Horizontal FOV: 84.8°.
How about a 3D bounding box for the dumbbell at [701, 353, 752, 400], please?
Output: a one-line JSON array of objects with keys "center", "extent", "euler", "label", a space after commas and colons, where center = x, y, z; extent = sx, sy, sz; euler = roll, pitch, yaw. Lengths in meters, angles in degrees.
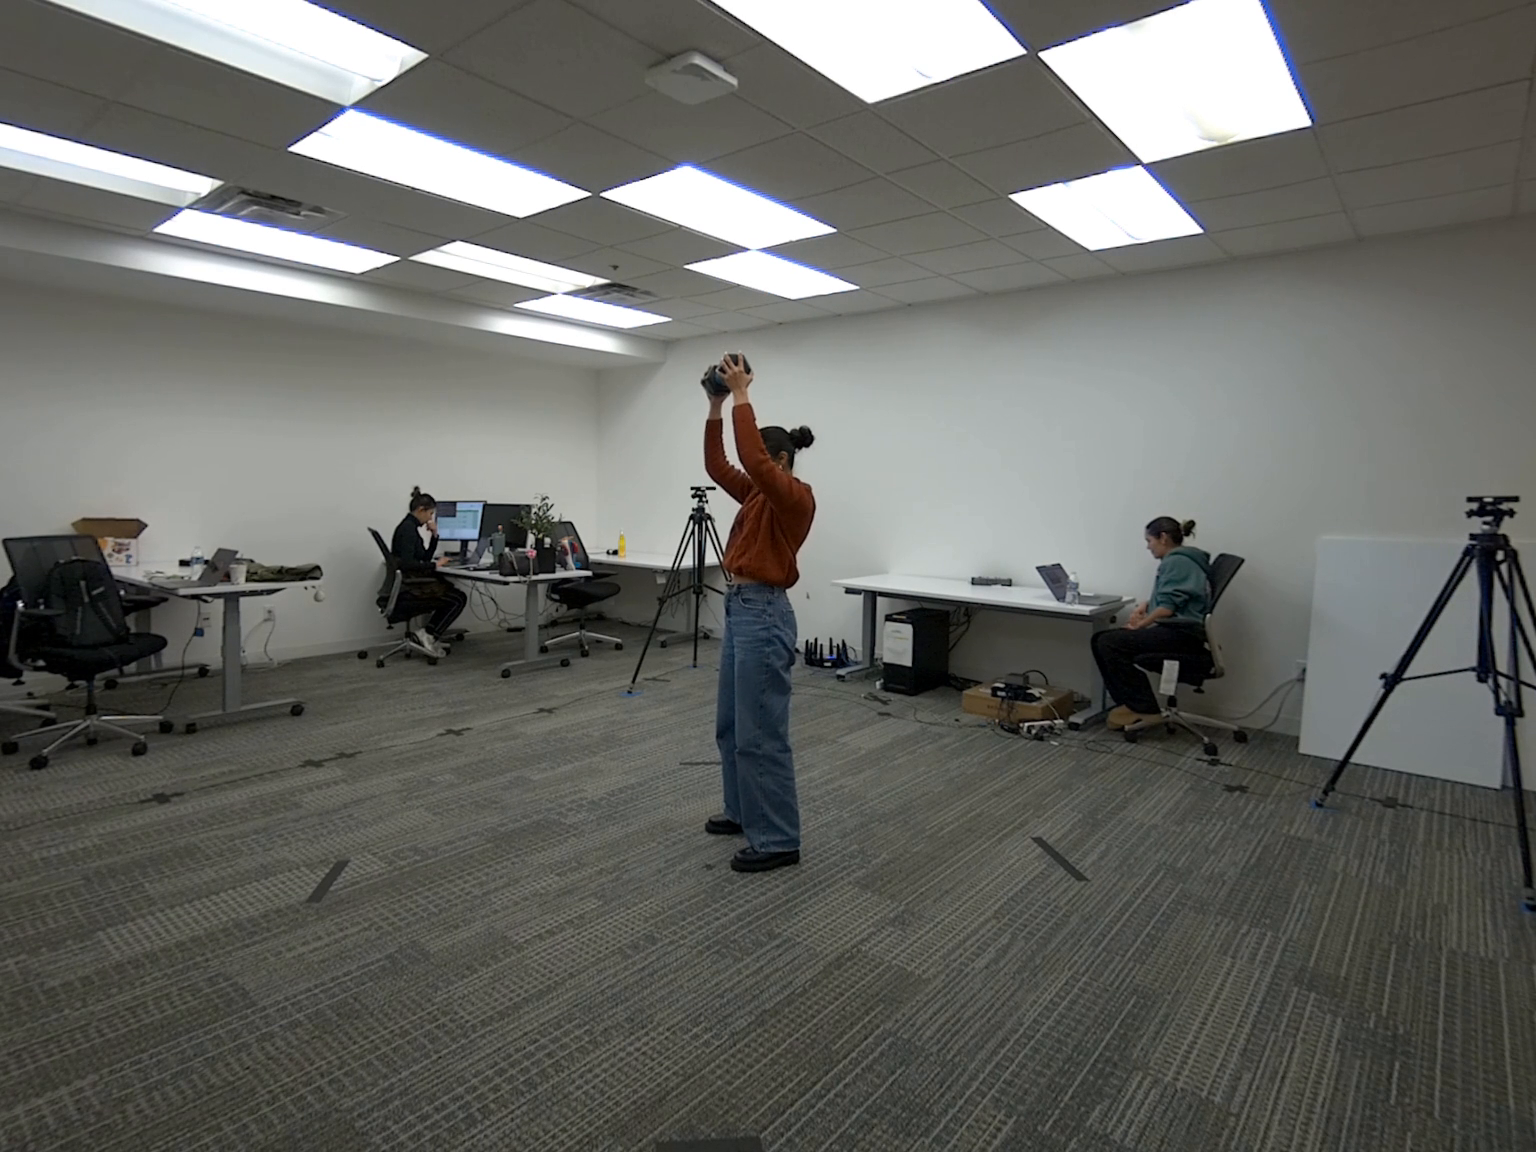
[{"center": [-0.172, -0.759, 3.237], "extent": [0.107, 0.123, 0.298], "euler": [31, -6, -15], "label": "dumbbell"}]
